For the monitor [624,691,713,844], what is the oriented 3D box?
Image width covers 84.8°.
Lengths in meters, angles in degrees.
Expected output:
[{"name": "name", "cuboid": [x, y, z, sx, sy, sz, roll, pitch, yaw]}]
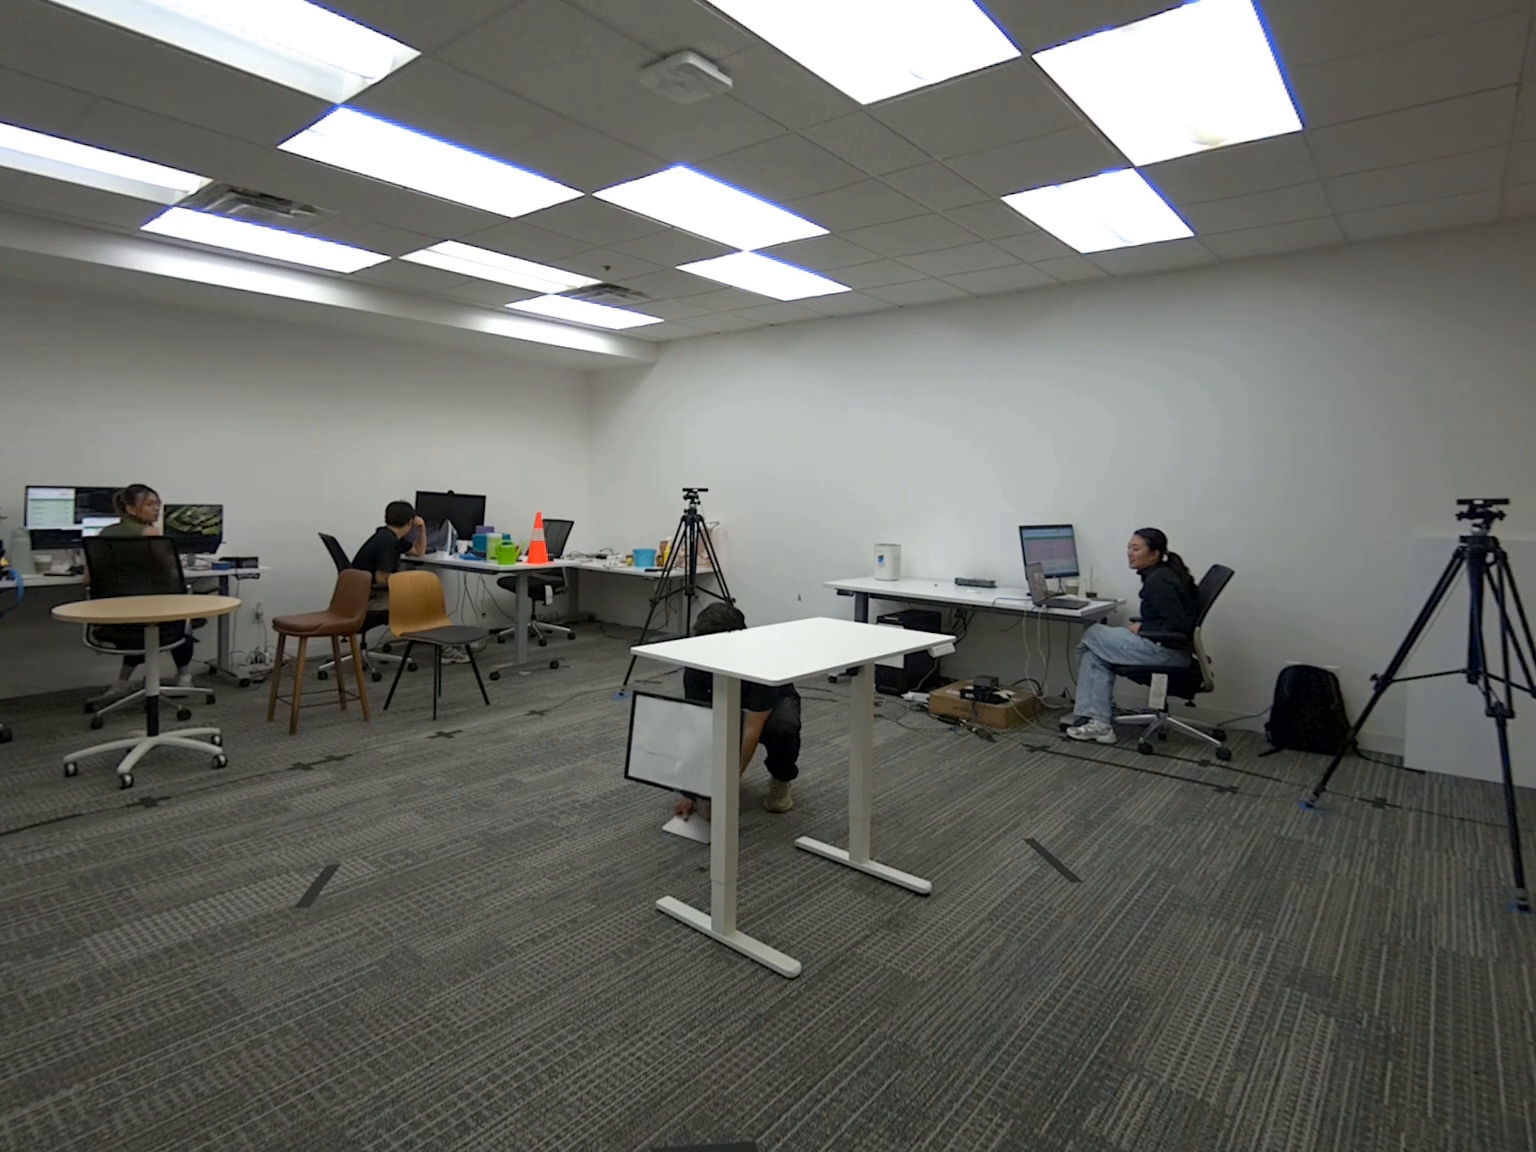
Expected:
[{"name": "monitor", "cuboid": [-0.315, 0.754, 3.435, 0.583, 0.552, 0.204, 3, 4, 36]}]
